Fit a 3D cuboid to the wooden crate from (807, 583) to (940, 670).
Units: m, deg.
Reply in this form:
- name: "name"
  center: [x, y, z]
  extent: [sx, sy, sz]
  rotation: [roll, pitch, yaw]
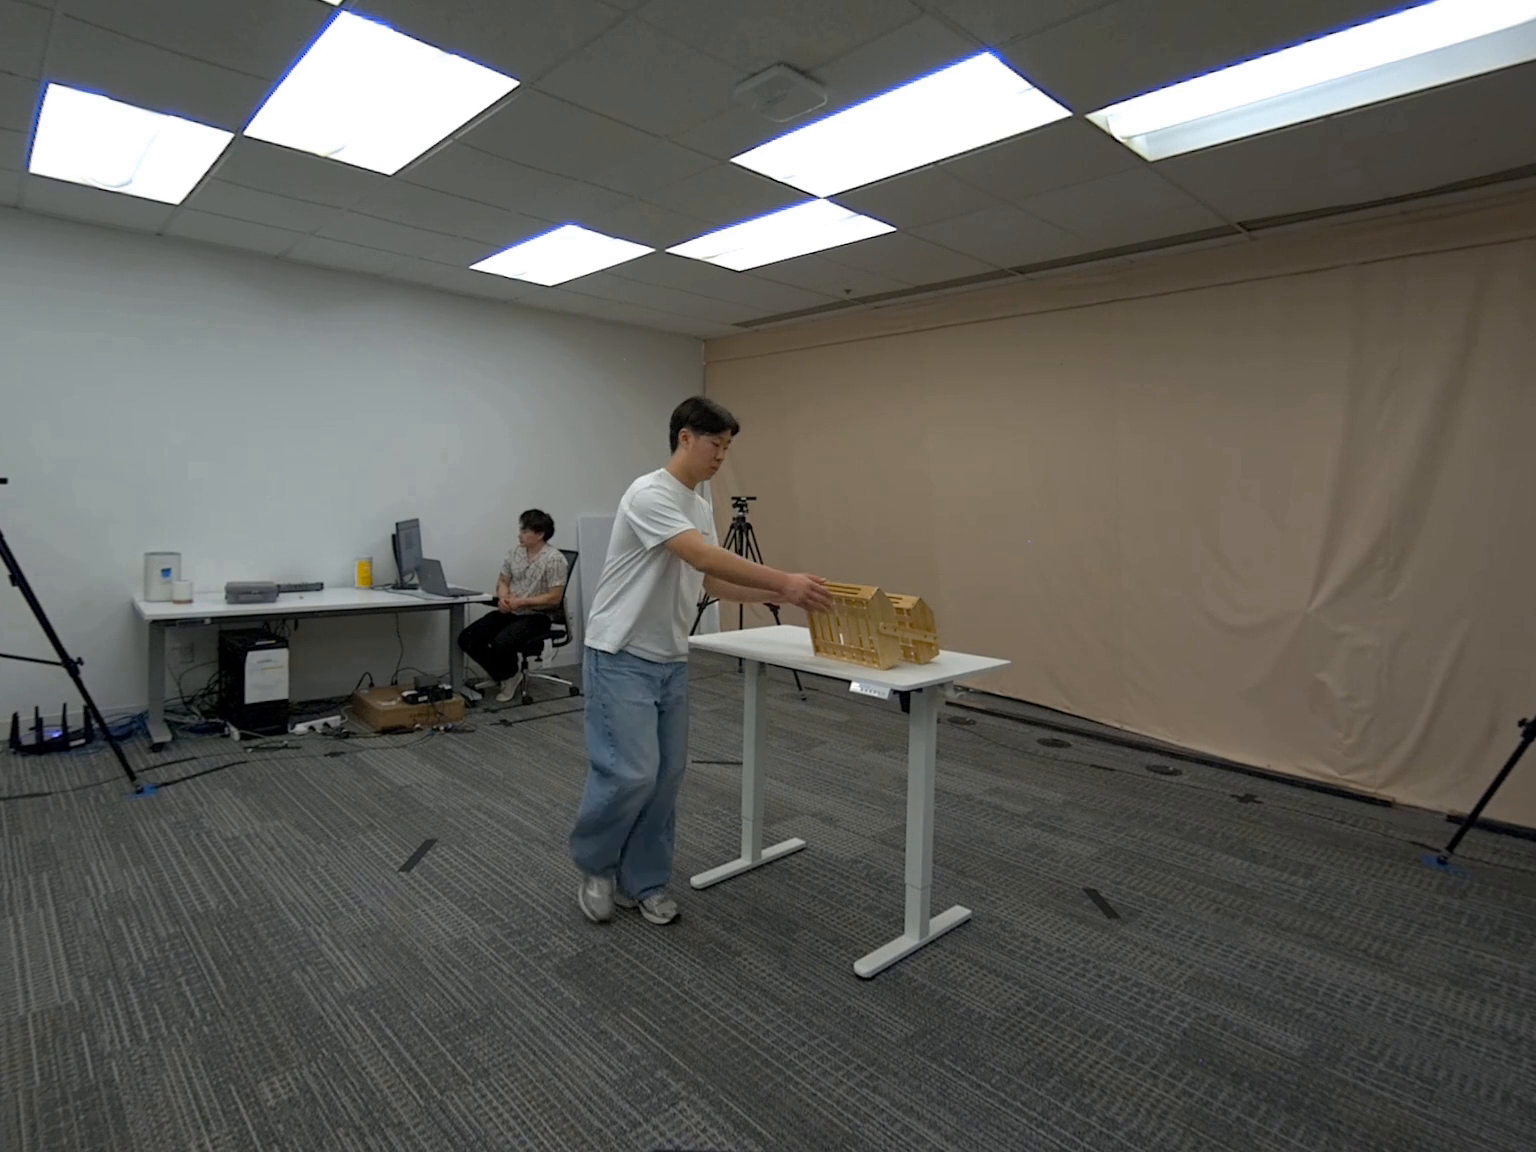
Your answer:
- name: "wooden crate"
  center: [0.325, 0.137, 2.695]
  extent: [0.269, 0.298, 0.332]
  rotation: [-22, 17, -36]
